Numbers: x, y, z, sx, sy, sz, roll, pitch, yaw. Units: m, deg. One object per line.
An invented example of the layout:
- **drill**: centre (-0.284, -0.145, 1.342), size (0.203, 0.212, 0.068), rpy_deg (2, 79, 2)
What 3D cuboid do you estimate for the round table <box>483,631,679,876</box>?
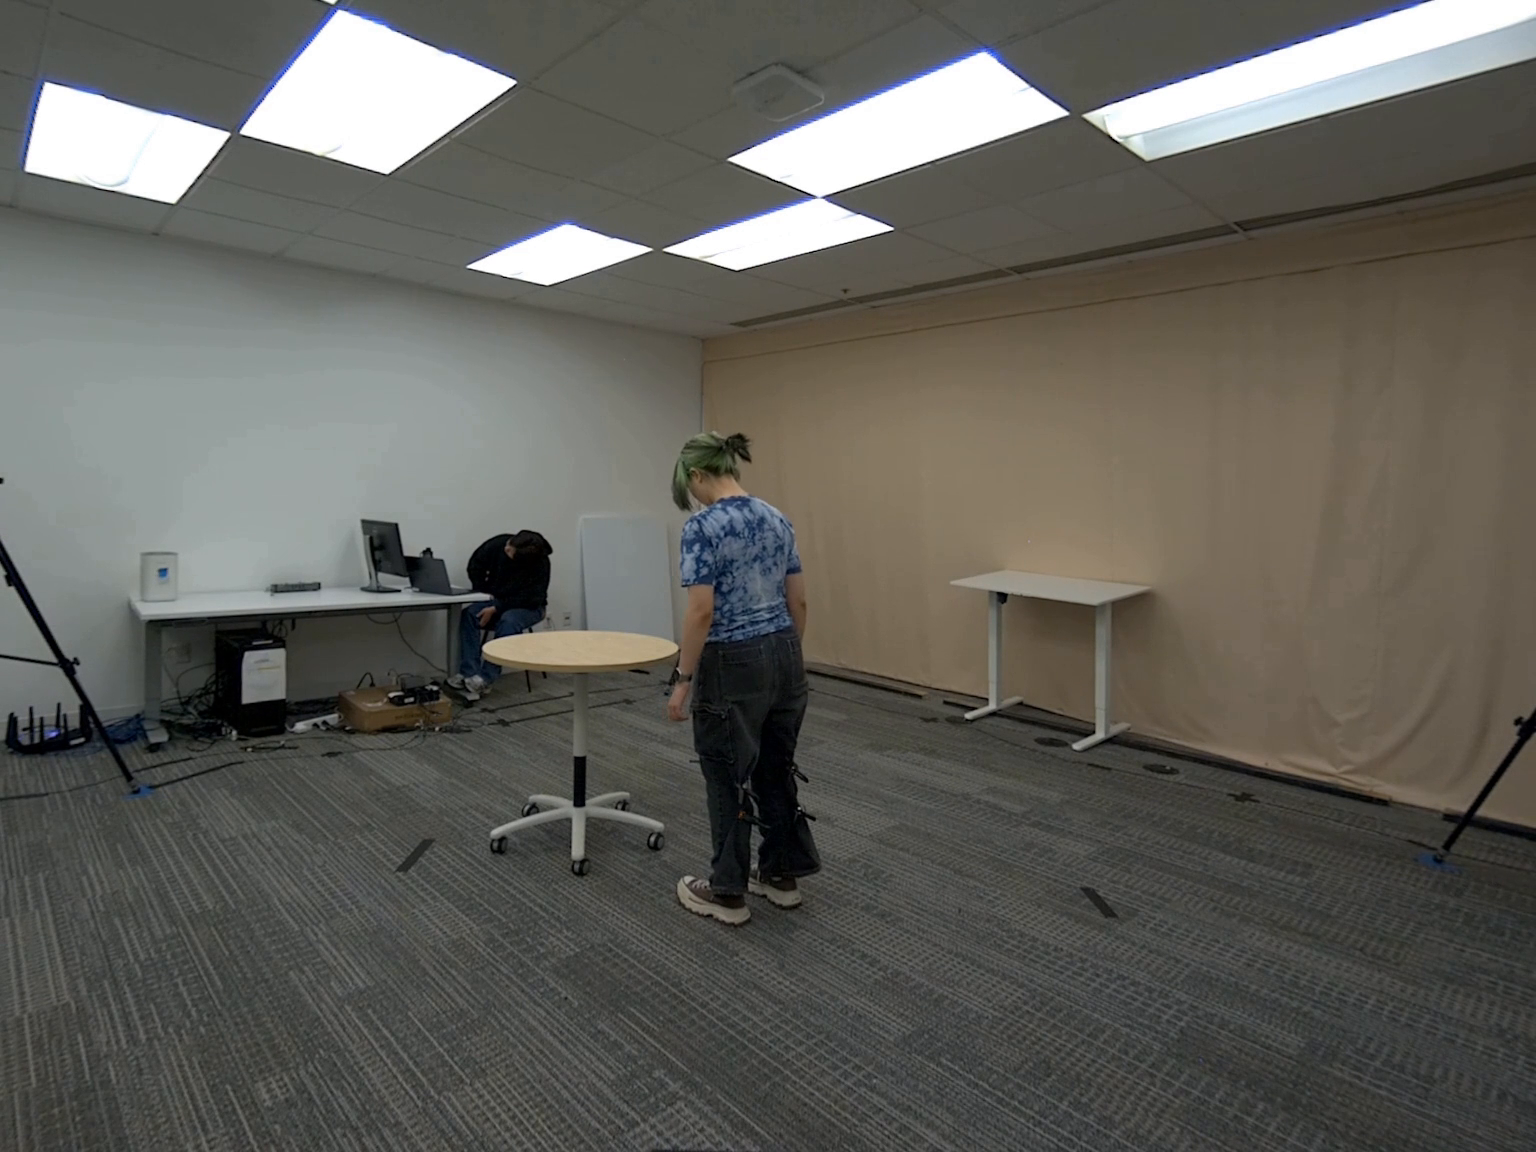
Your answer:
- **round table**: centre (-0.761, 0.677, 3.380), size (0.763, 0.792, 0.766), rpy_deg (1, 3, -1)
